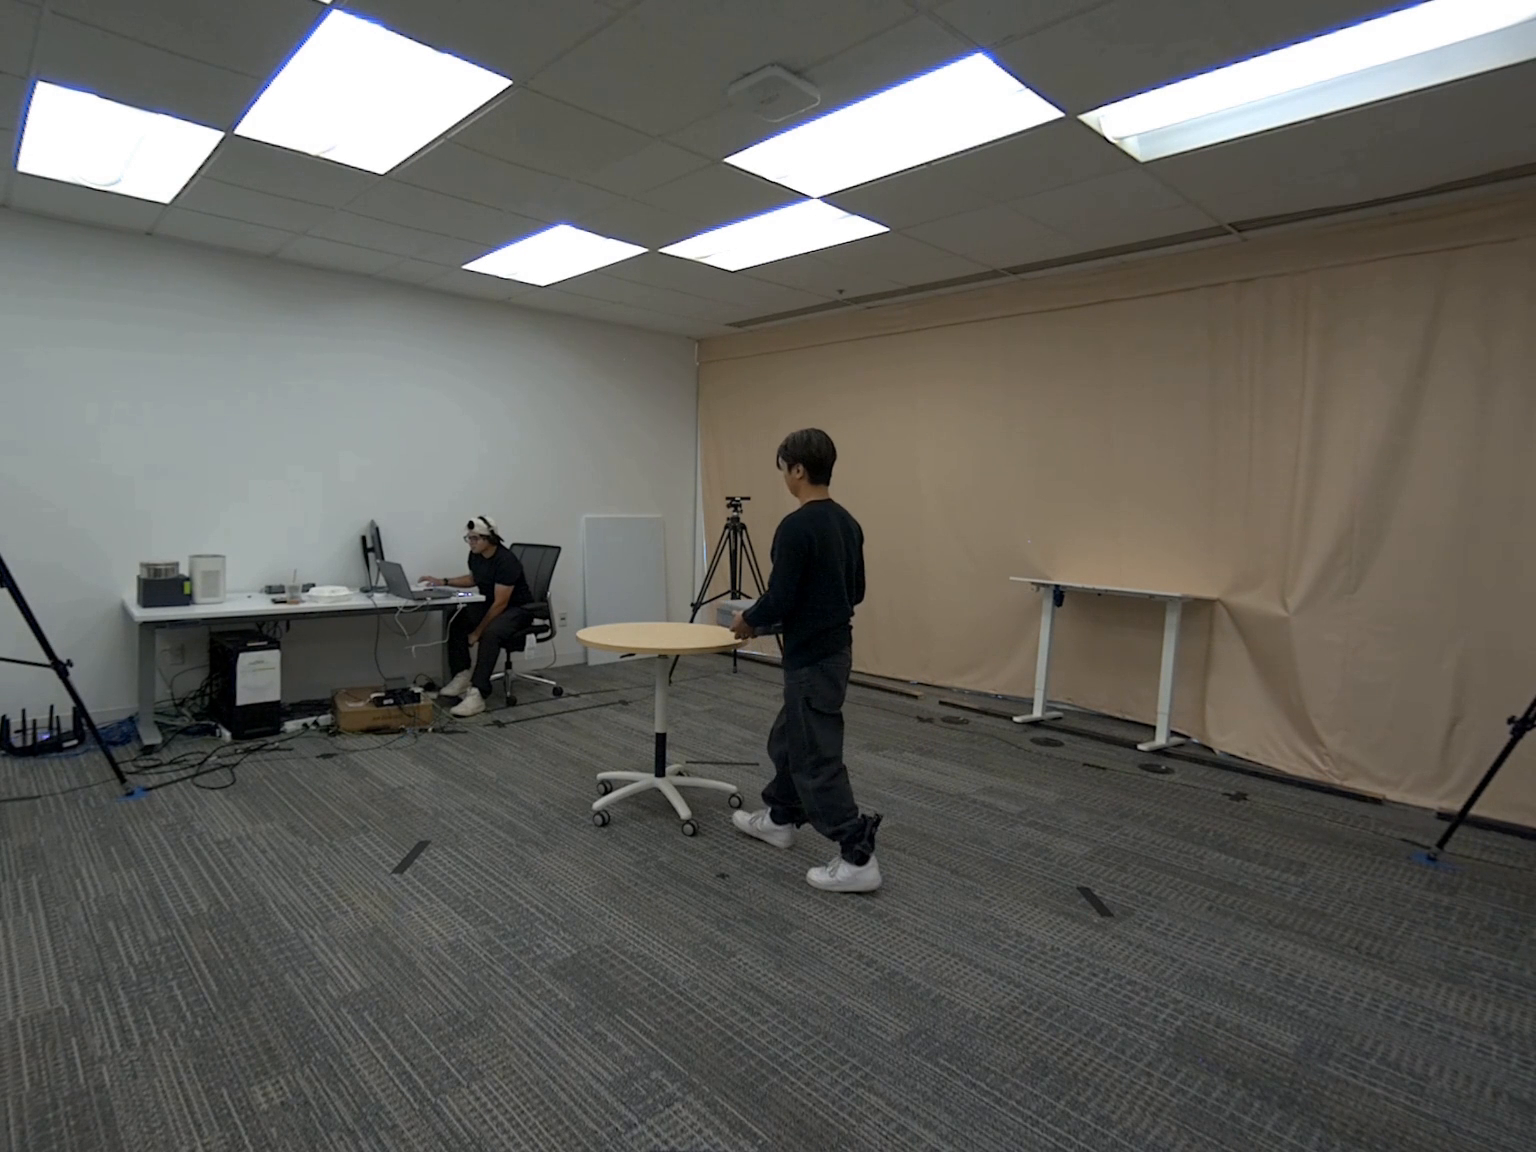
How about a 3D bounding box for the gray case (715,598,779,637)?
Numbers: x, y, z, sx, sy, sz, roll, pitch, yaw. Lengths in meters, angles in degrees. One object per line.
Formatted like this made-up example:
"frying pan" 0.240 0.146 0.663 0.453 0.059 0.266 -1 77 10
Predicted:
"gray case" -0.045 0.161 3.392 0.268 0.104 0.251 11 8 41
